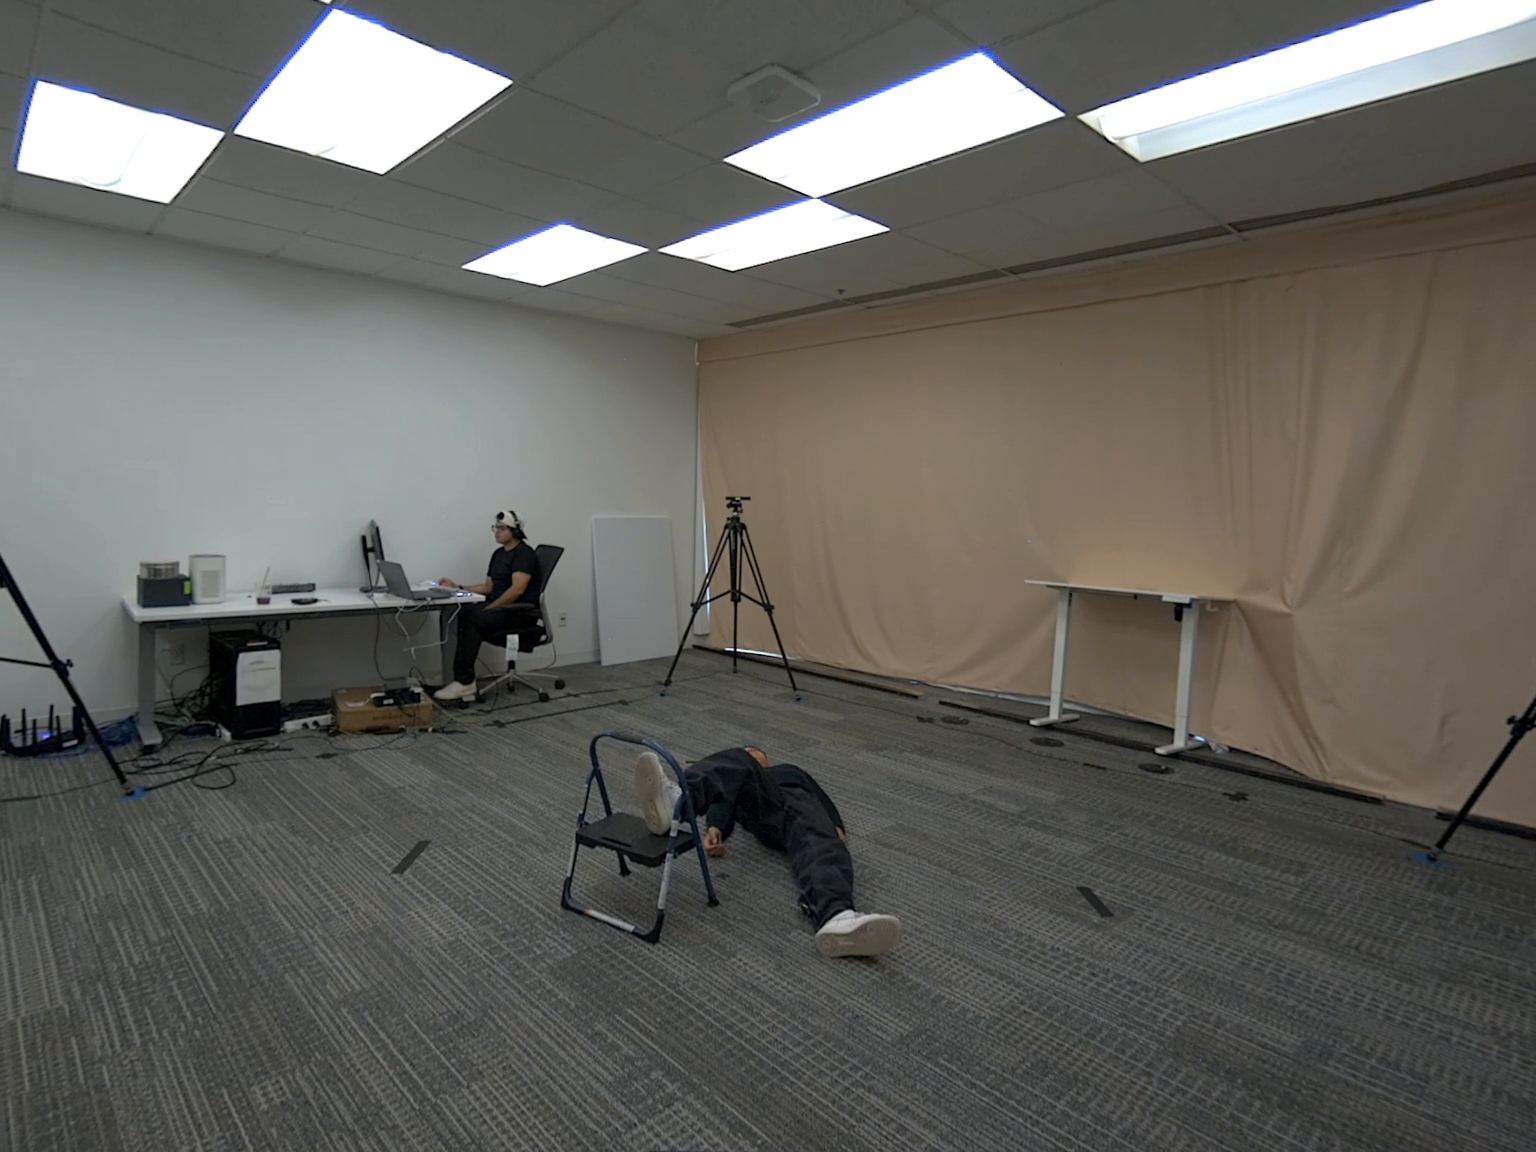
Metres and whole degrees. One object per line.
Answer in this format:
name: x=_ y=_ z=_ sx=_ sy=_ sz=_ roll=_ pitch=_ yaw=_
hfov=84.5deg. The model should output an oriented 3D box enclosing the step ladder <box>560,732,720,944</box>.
step ladder: x=-0.438 y=0.824 z=2.849 sx=0.440 sy=0.605 sz=0.342 roll=4 pitch=4 yaw=32
